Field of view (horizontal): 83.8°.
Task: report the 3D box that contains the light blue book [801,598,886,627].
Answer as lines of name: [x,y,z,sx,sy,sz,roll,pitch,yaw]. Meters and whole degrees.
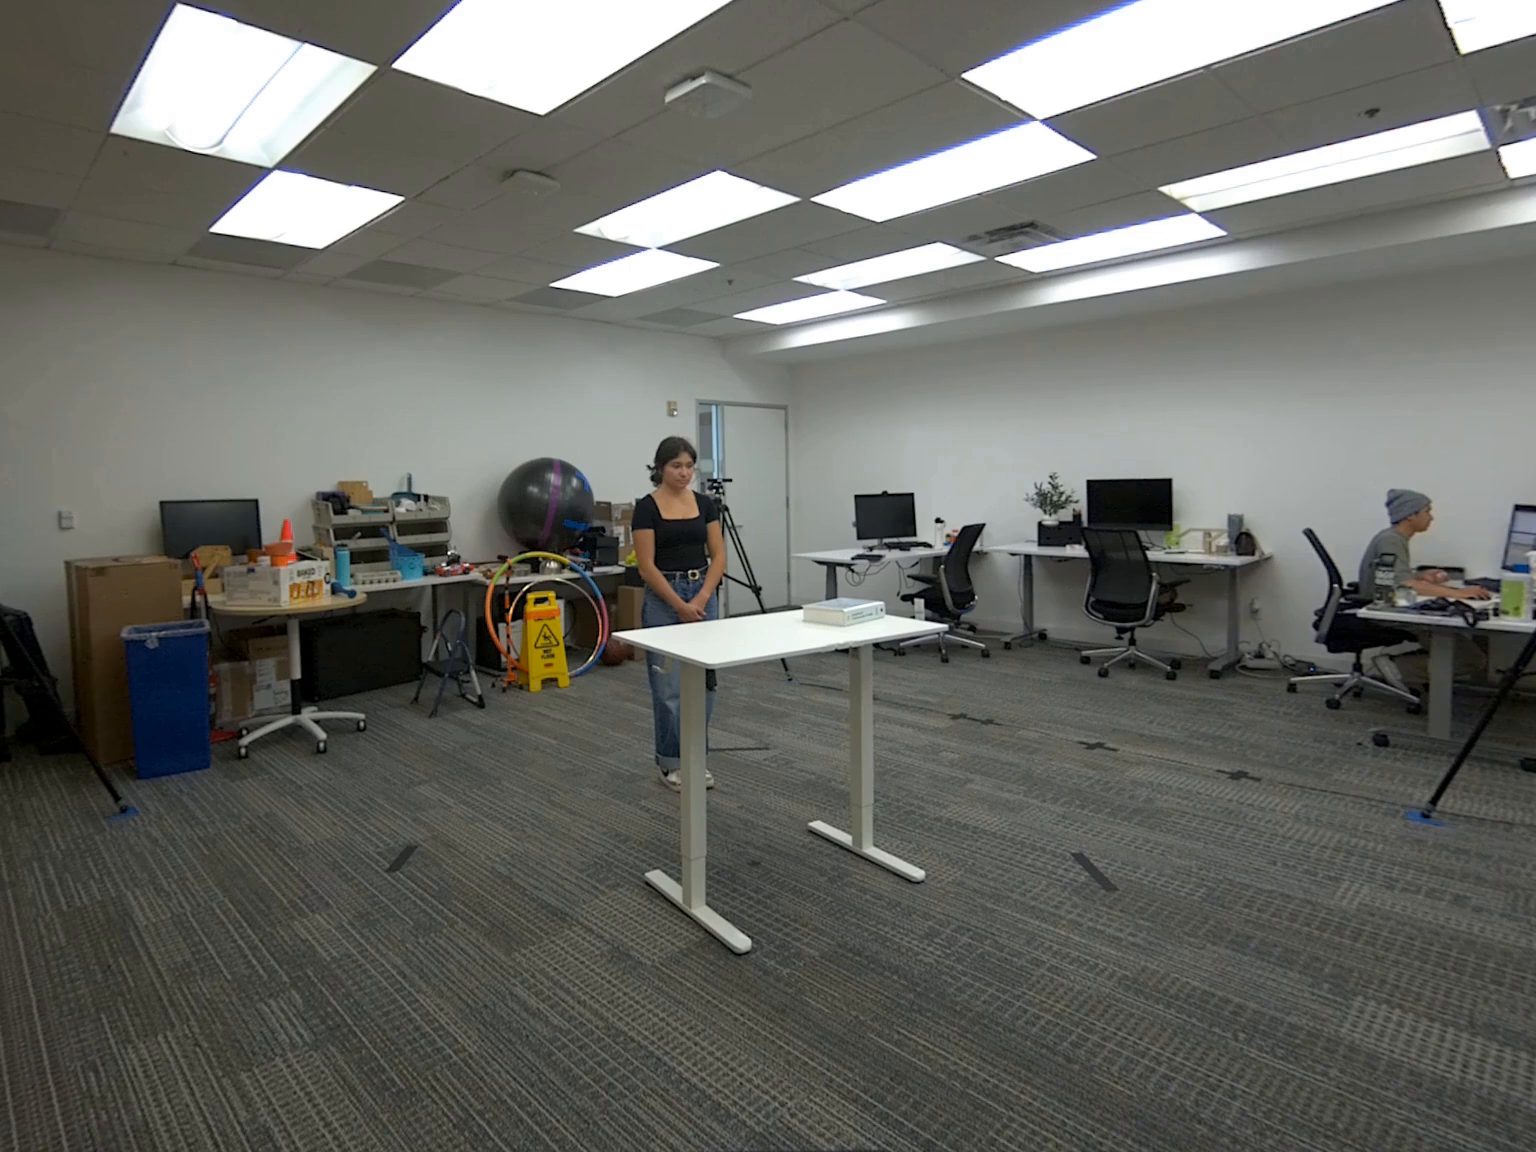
light blue book: [0.280,0.130,3.106,0.197,0.059,0.254,5,9,41]
